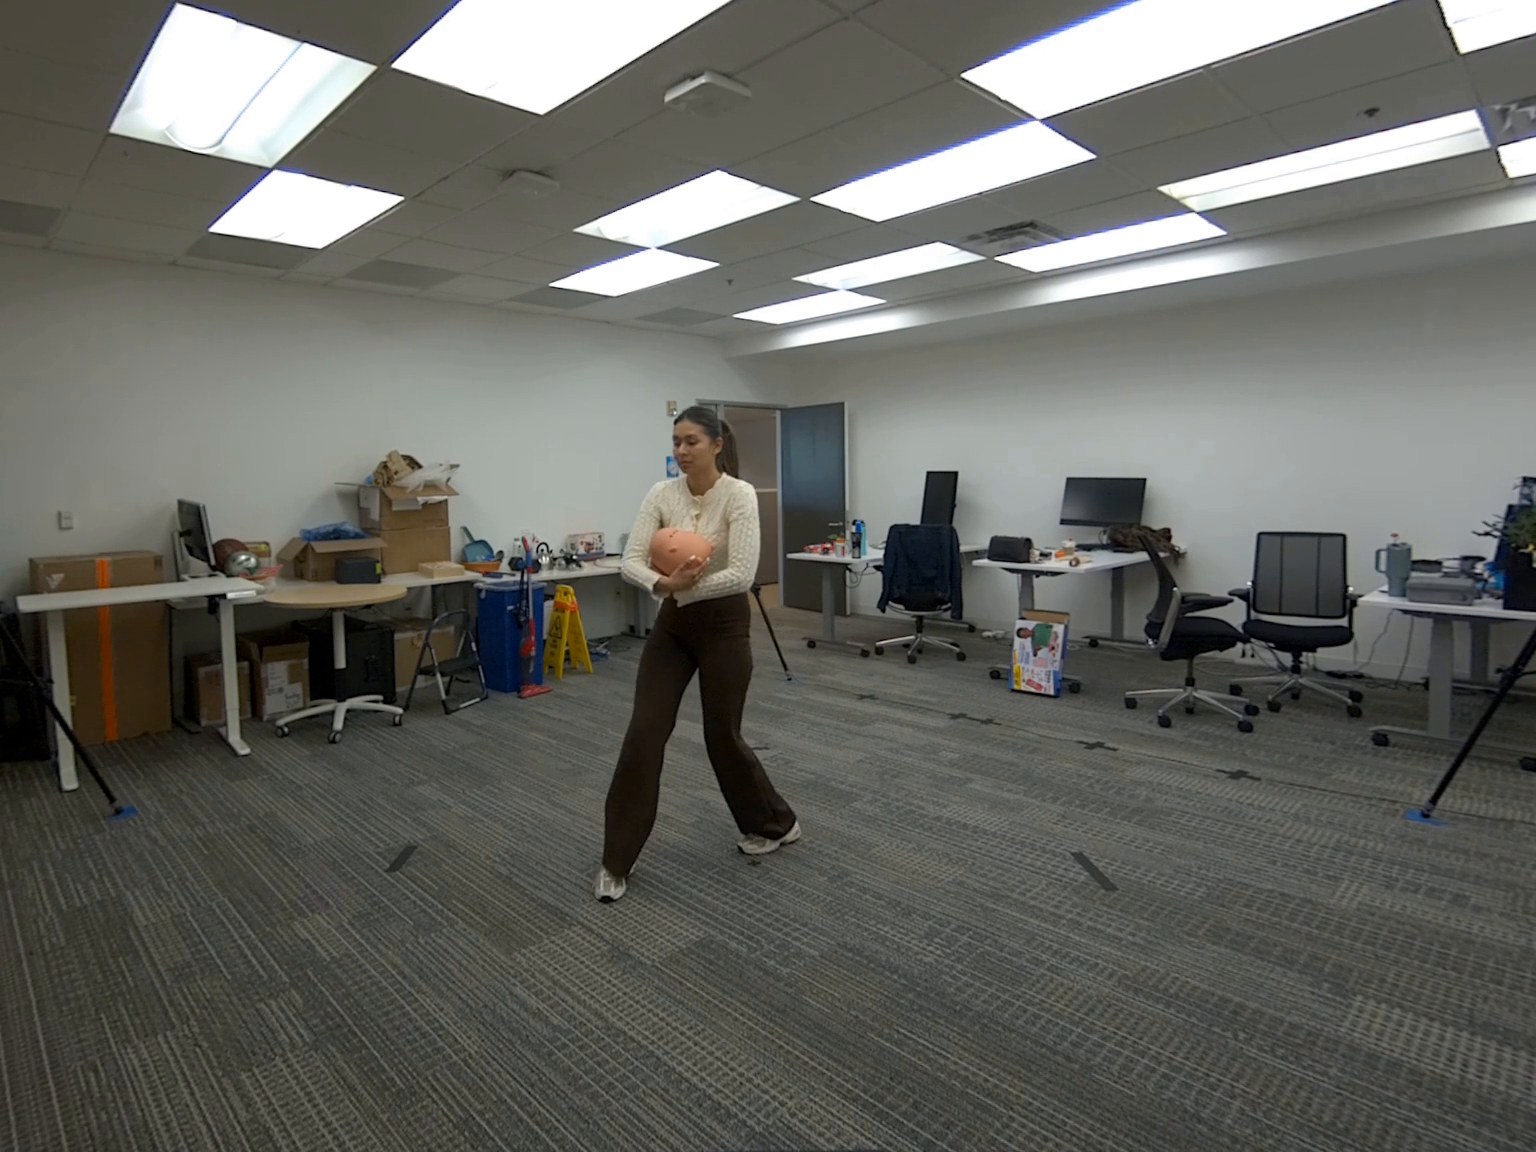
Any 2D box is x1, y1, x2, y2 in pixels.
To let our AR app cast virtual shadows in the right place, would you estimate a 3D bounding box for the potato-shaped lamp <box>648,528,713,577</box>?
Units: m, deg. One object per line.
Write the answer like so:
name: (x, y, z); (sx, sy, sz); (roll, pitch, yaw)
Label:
potato-shaped lamp: (-0.306, -0.083, 2.859); (0.199, 0.170, 0.164); (39, 35, 4)
